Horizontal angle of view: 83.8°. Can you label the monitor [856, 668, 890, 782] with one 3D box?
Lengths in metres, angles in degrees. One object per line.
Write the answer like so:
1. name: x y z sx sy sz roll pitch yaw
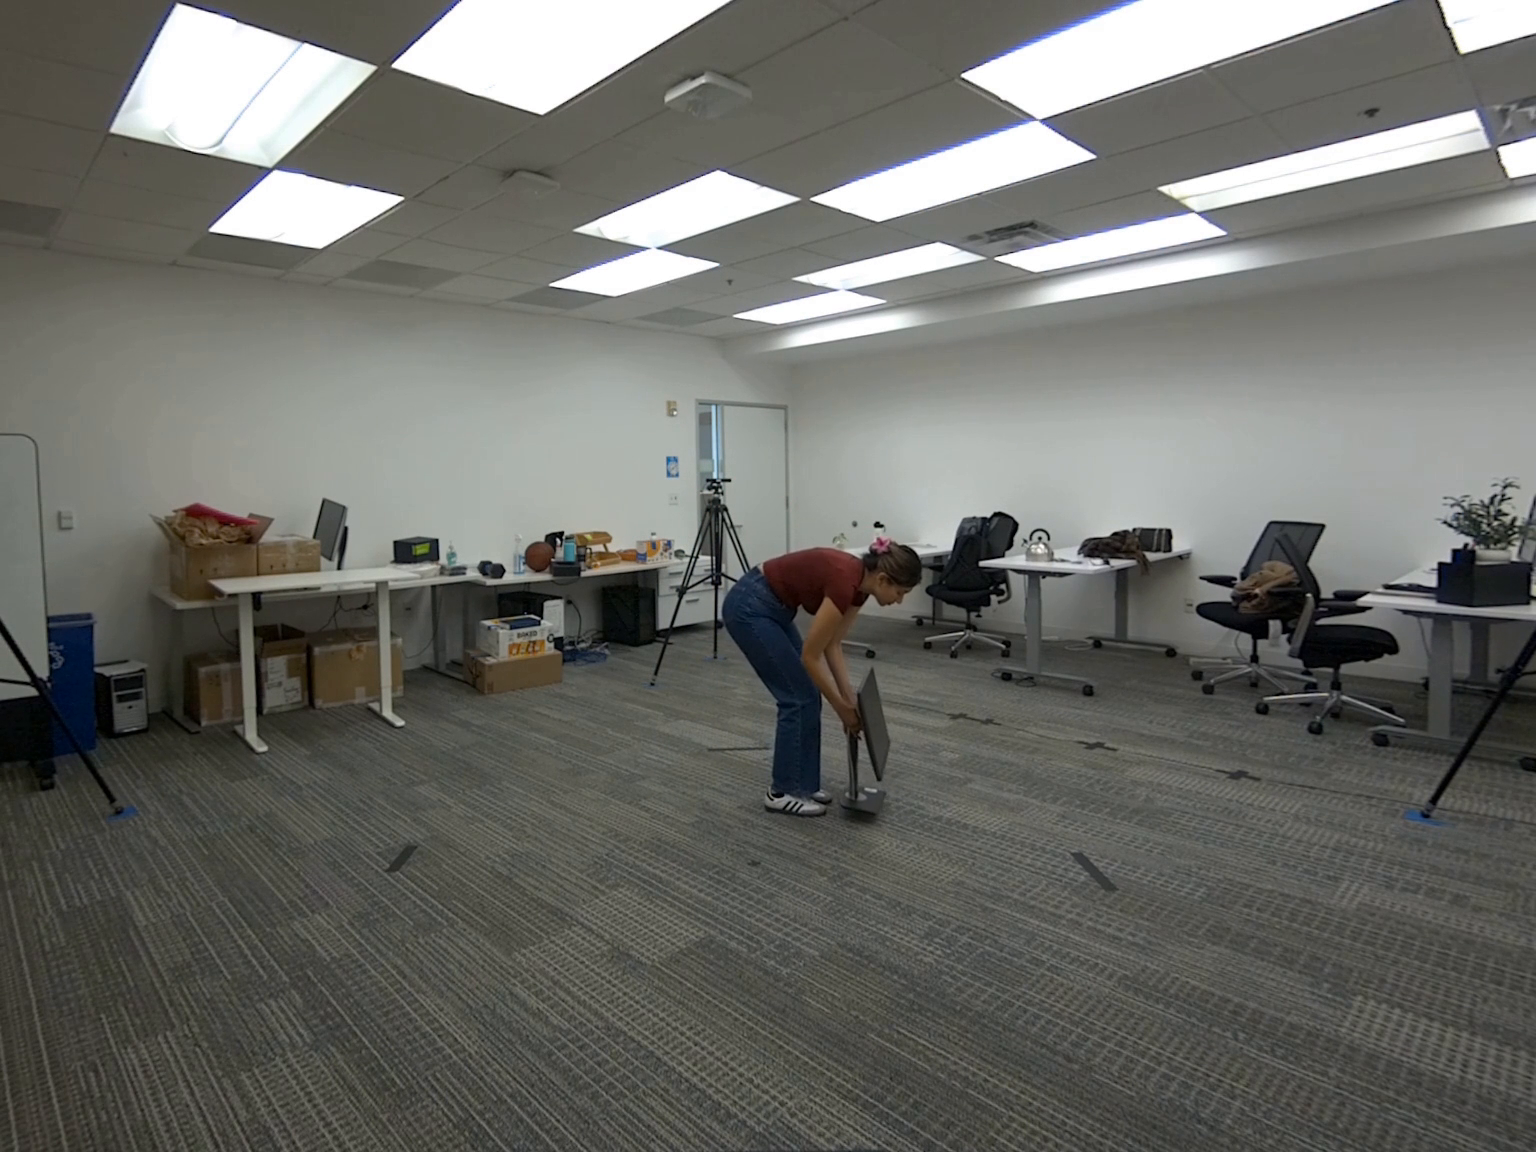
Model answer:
1. monitor: 0.407 0.684 3.551 0.189 0.520 0.534 3 5 11
